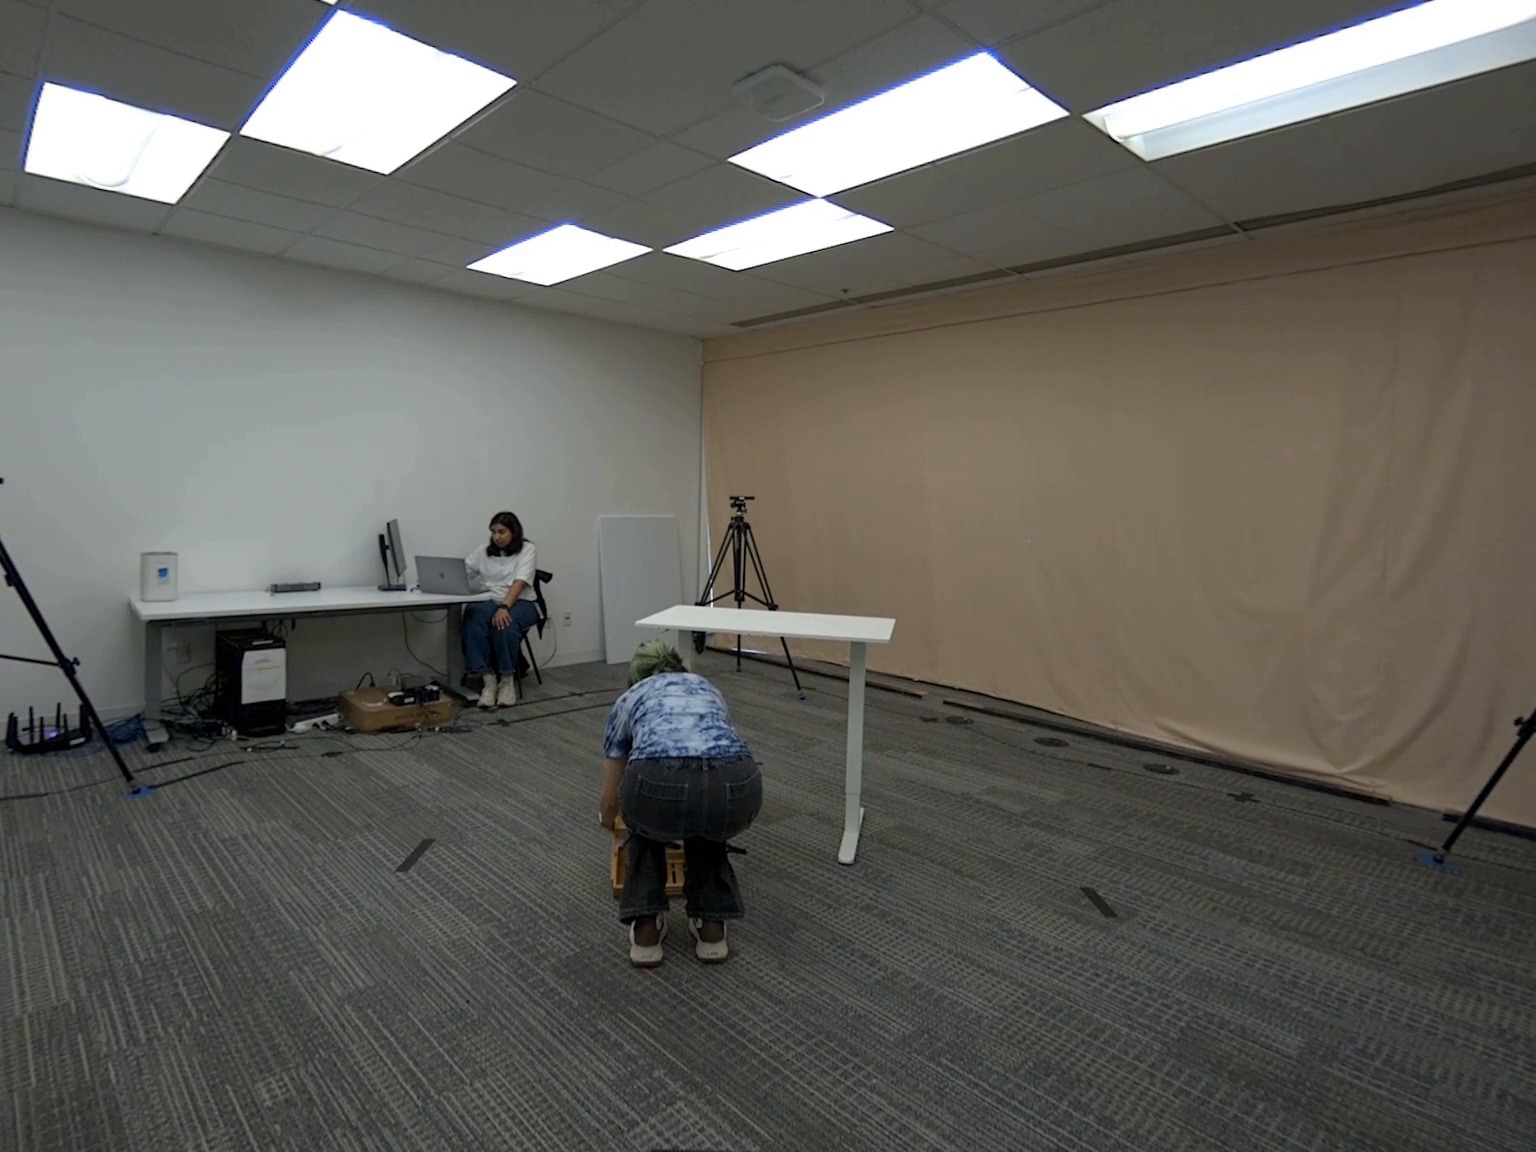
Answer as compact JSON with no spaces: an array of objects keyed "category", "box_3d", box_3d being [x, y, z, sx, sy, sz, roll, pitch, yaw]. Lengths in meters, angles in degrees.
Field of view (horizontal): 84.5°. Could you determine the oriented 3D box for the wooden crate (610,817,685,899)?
[{"category":"wooden crate","box_3d":[-0.407,0.974,3.048,0.322,0.273,0.305,1,4,-9]}]
